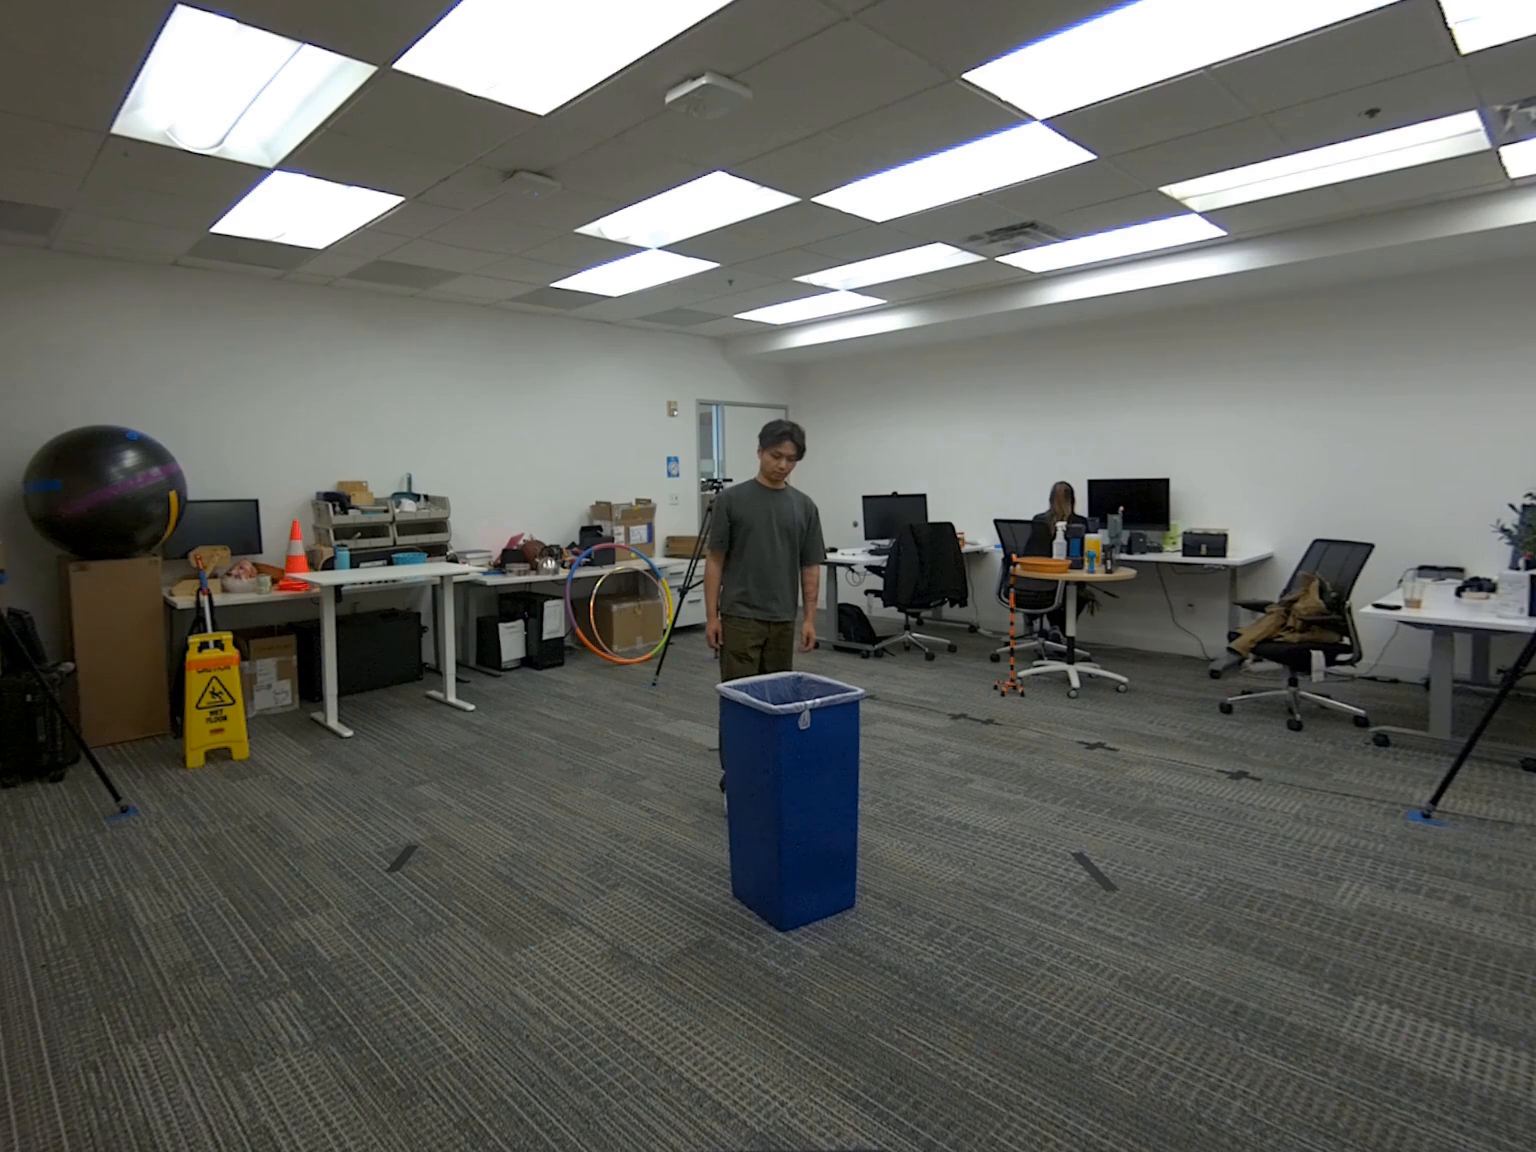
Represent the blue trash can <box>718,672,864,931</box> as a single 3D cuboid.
[{"bbox_3d":[0.071,0.722,2.804,0.364,0.712,0.389,-3,4,-34],"label":"blue trash can"}]
